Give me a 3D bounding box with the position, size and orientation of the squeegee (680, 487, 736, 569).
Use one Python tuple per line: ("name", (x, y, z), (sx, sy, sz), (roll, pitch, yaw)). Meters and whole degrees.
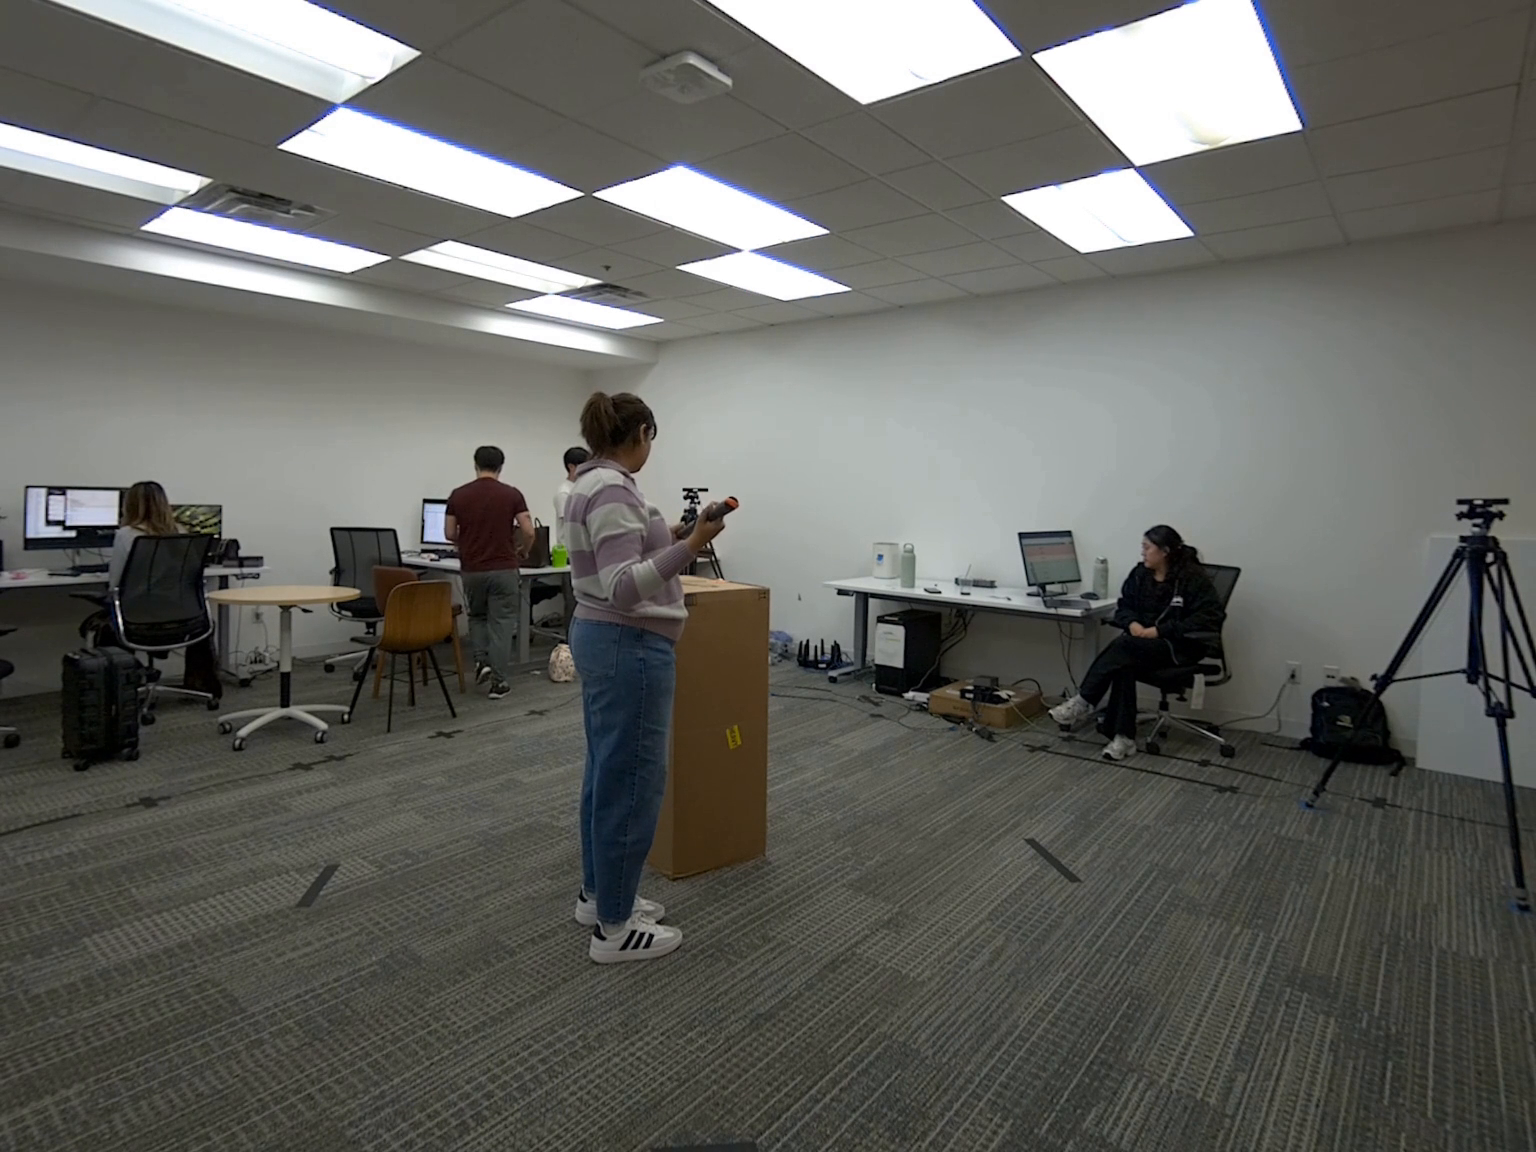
("squeegee", (-0.257, -0.148, 2.707), (0.433, 0.053, 1.546), (5, -4, -10))
